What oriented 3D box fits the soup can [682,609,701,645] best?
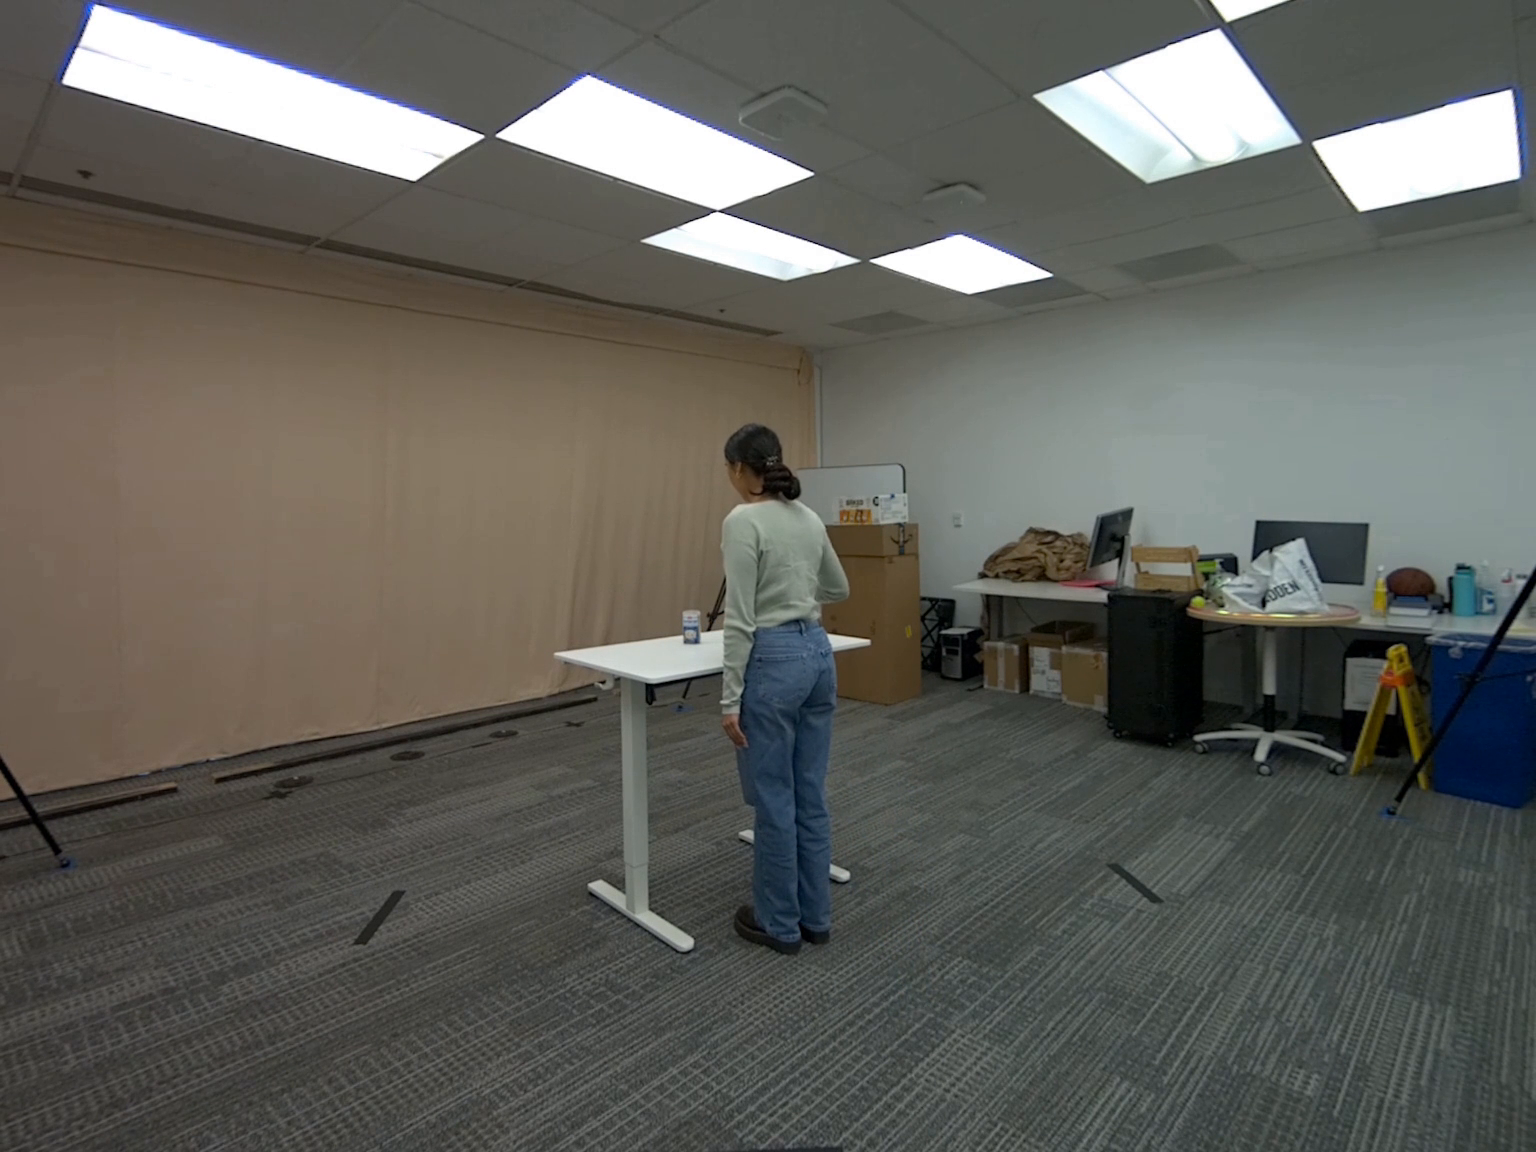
[{"bbox_3d":[-0.279,0.193,3.121,0.067,0.121,0.067,0,4,-2],"label":"soup can"}]
